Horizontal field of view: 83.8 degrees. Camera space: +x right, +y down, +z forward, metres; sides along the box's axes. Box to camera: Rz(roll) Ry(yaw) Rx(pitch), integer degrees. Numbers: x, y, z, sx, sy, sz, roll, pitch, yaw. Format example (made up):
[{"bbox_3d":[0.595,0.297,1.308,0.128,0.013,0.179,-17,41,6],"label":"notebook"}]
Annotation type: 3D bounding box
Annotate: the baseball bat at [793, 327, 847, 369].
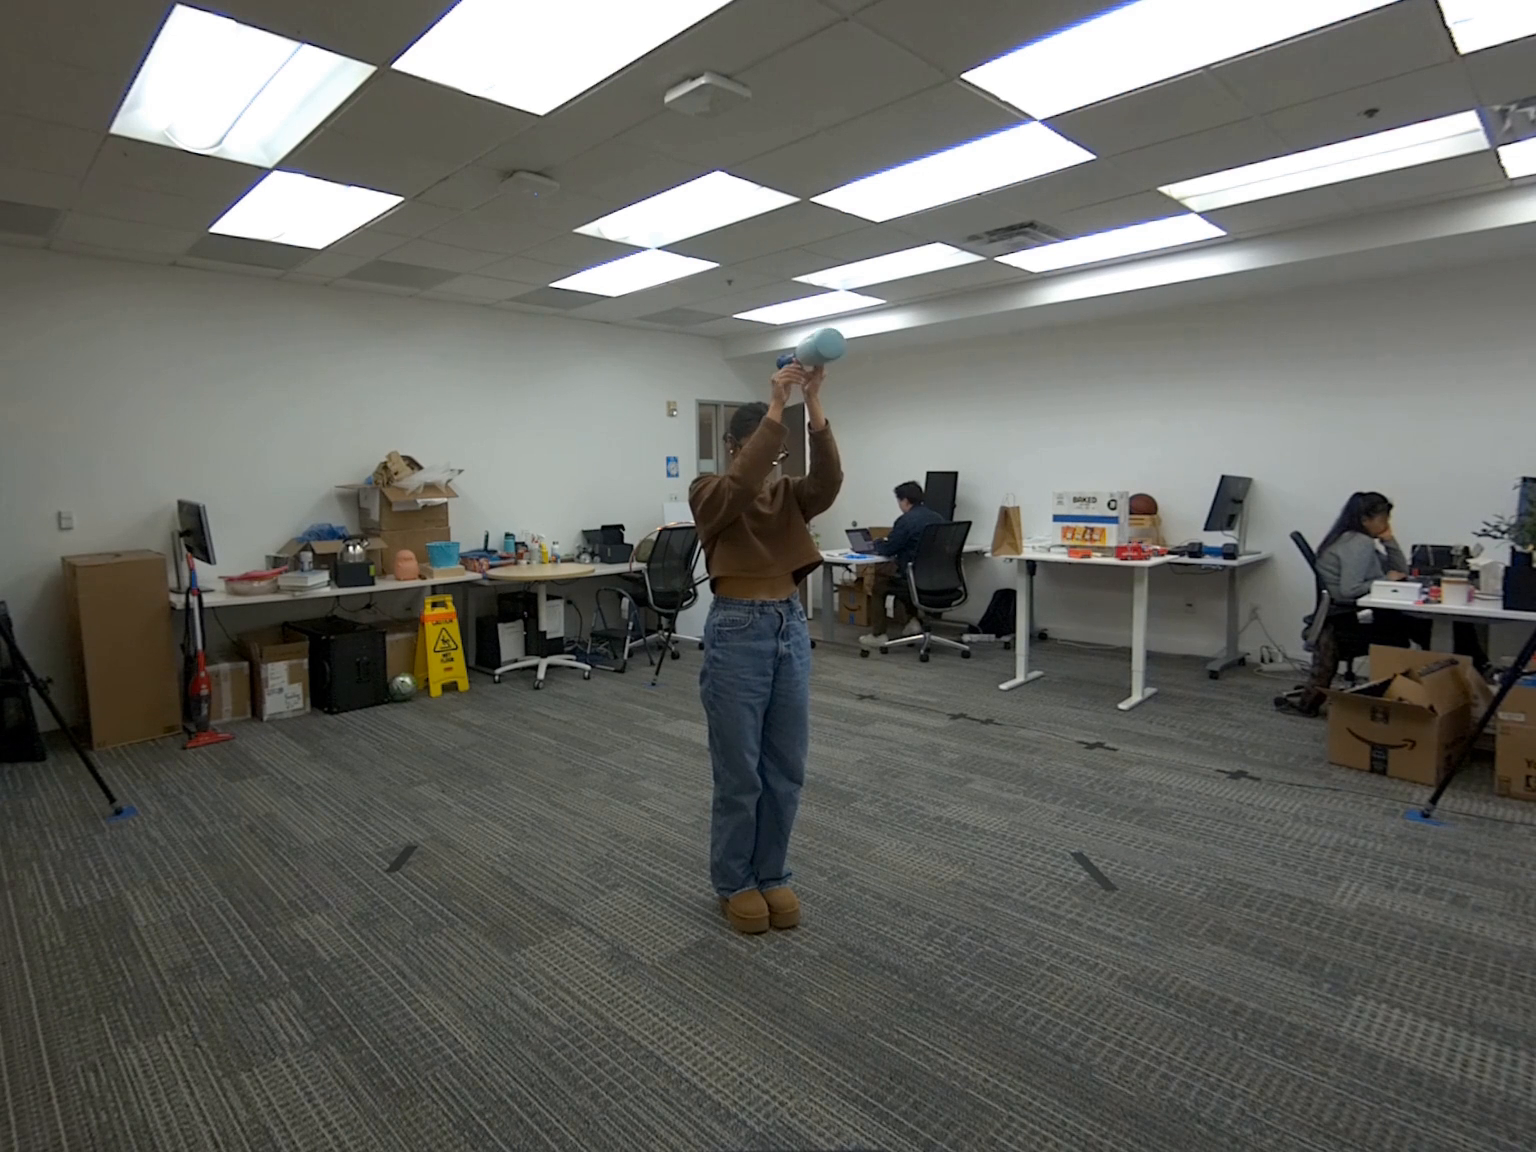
[{"bbox_3d":[0.113,-0.639,2.453,0.088,0.088,0.552,-2,10,-11],"label":"baseball bat"}]
